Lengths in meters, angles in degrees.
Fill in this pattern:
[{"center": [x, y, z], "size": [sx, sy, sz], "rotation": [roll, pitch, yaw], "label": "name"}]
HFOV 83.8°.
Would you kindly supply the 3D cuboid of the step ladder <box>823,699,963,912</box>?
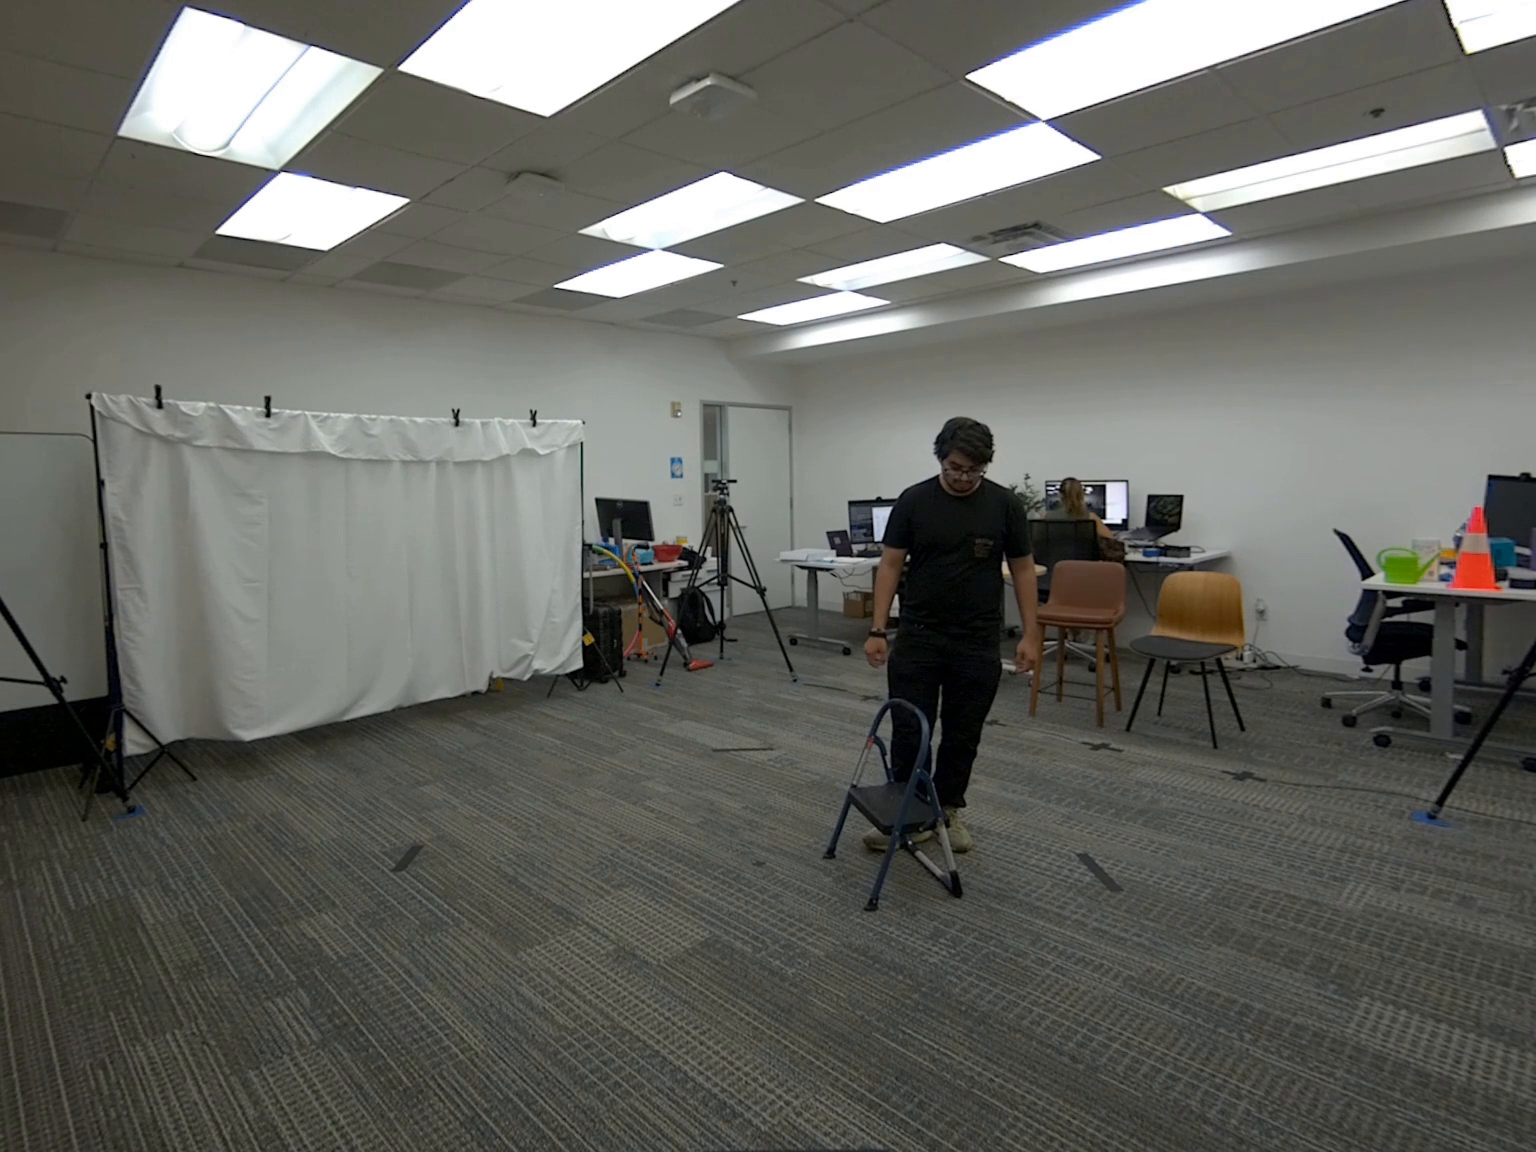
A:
[{"center": [0.425, 0.751, 2.975], "size": [0.345, 0.604, 0.438], "rotation": [-2, 5, -15], "label": "step ladder"}]
